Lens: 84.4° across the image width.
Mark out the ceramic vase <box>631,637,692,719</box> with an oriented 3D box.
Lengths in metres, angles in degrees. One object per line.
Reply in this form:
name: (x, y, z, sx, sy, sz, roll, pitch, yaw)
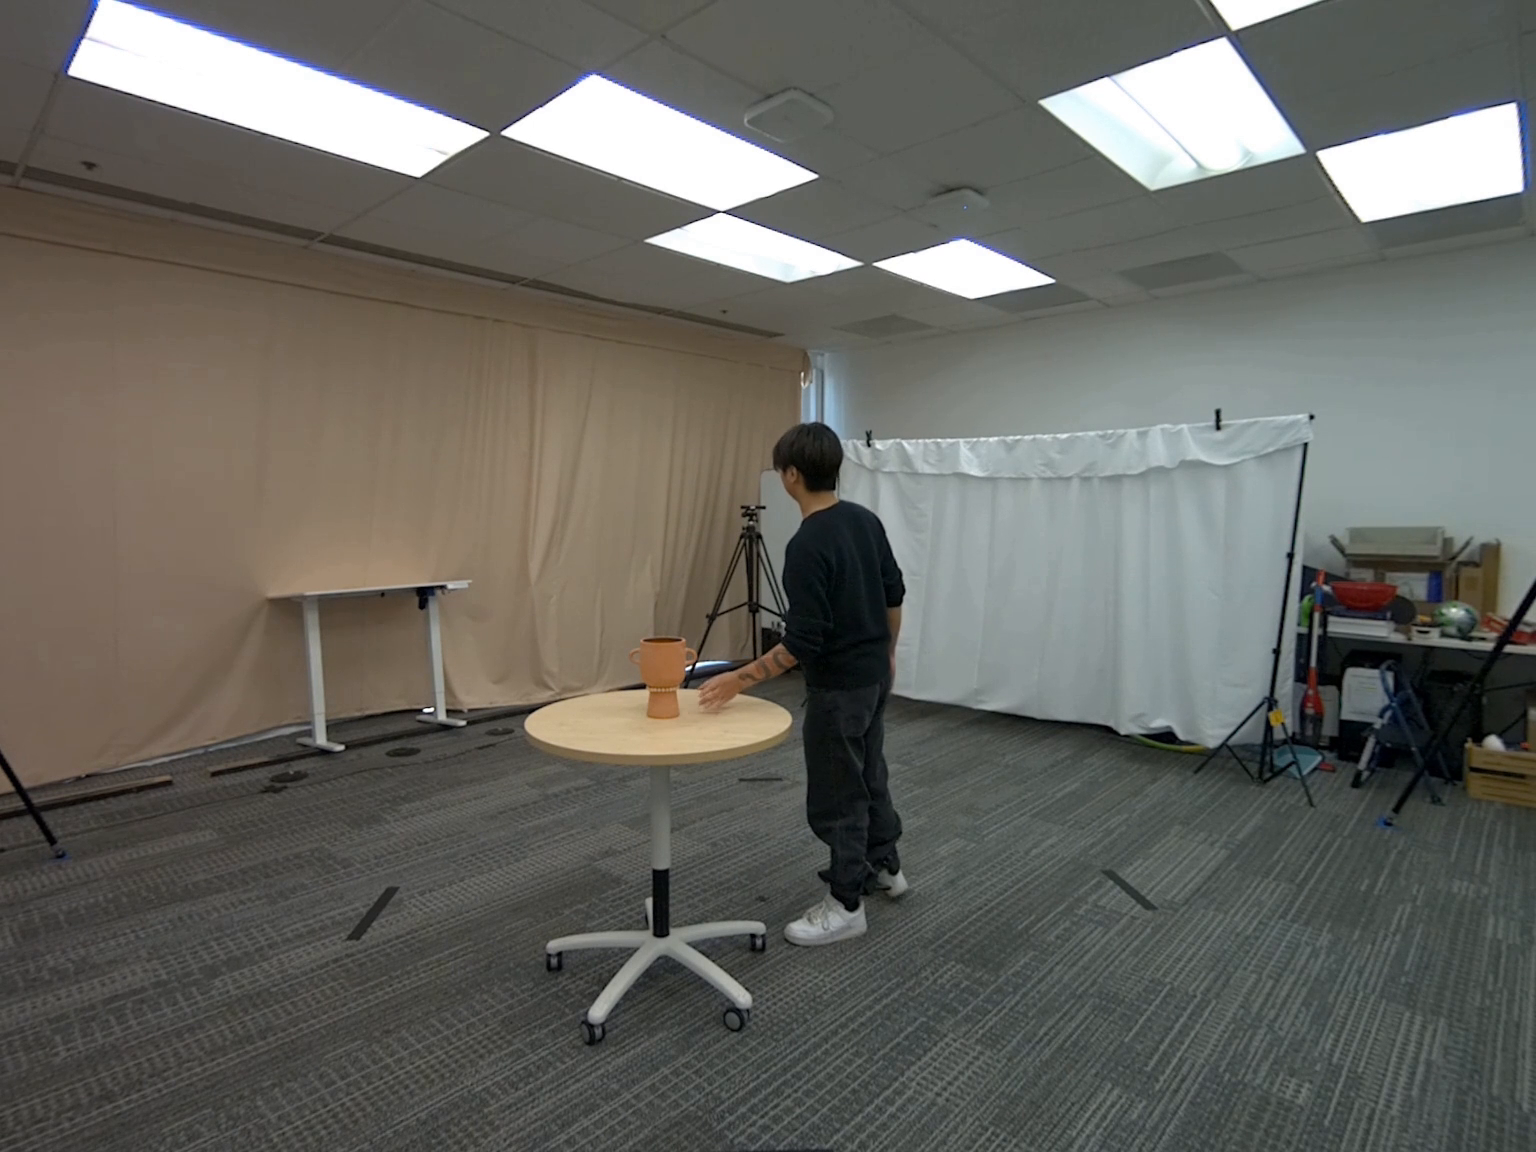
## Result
ceramic vase: (-0.302, 0.300, 2.454, 0.164, 0.219, 0.130, 2, 3, 37)
